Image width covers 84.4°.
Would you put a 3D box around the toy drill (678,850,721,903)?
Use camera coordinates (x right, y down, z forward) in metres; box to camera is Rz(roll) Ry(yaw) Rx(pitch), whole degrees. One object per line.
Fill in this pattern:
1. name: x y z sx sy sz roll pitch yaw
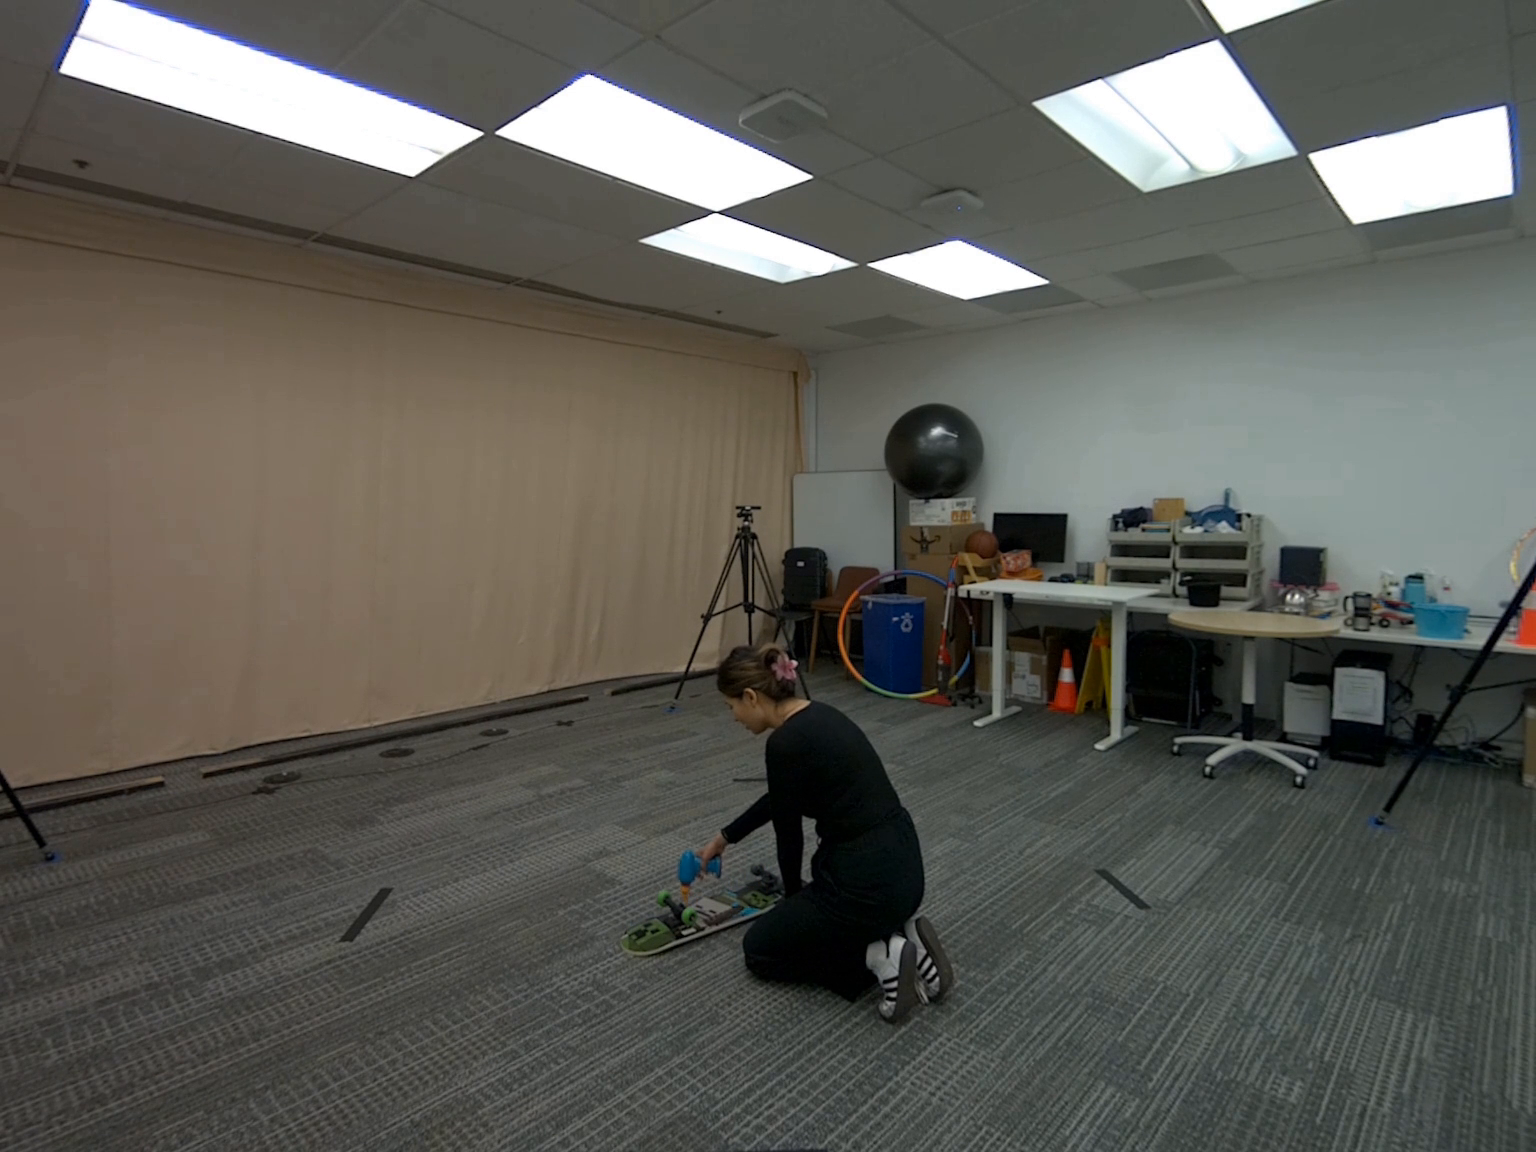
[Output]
1. toy drill: -0.229 1.003 2.799 0.145 0.170 0.061 3 -4 -4
